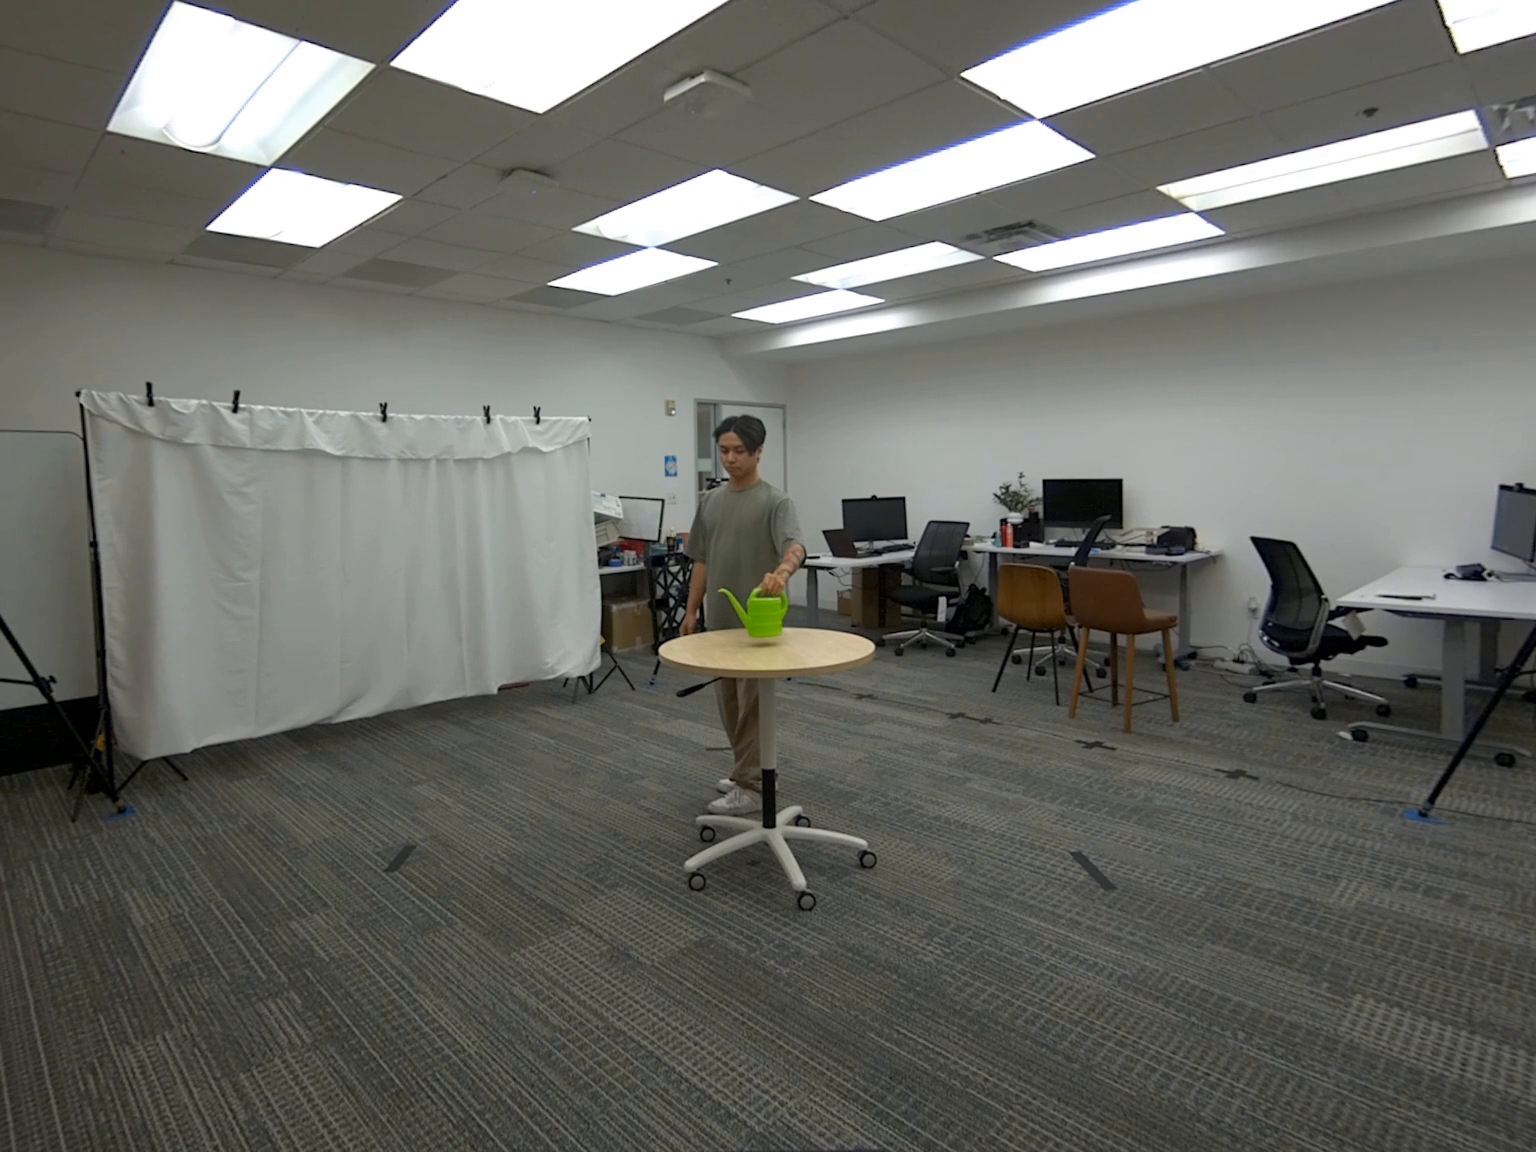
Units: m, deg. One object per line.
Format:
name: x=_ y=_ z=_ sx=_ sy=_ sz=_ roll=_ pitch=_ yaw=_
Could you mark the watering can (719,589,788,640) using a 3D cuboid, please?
watering can: x=-0.057 y=0.133 z=3.058 sx=0.274 sy=0.176 sz=0.100 roll=0 pitch=2 yaw=-17
